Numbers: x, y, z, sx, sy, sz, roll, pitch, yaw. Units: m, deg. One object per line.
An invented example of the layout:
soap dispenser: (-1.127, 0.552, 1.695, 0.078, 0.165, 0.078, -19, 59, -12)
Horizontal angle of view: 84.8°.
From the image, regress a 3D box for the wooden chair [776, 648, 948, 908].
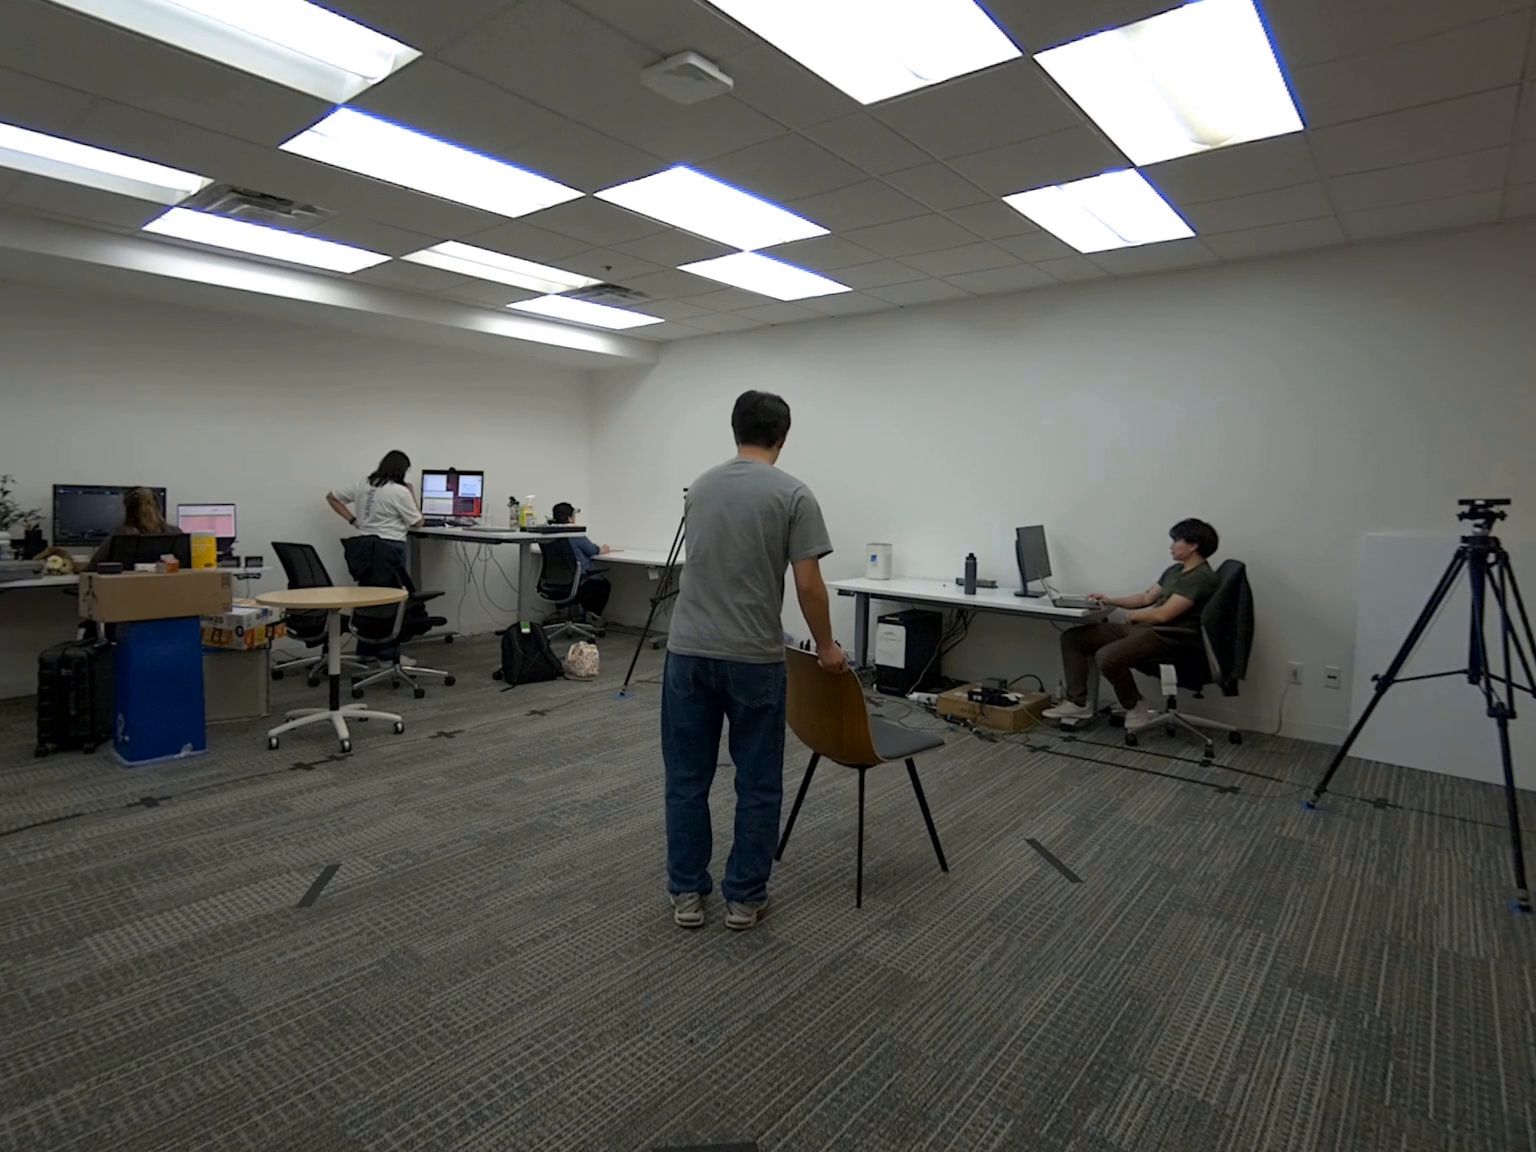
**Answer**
wooden chair: (0.333, 0.644, 3.120, 0.510, 0.871, 0.494, -10, 9, -36)
